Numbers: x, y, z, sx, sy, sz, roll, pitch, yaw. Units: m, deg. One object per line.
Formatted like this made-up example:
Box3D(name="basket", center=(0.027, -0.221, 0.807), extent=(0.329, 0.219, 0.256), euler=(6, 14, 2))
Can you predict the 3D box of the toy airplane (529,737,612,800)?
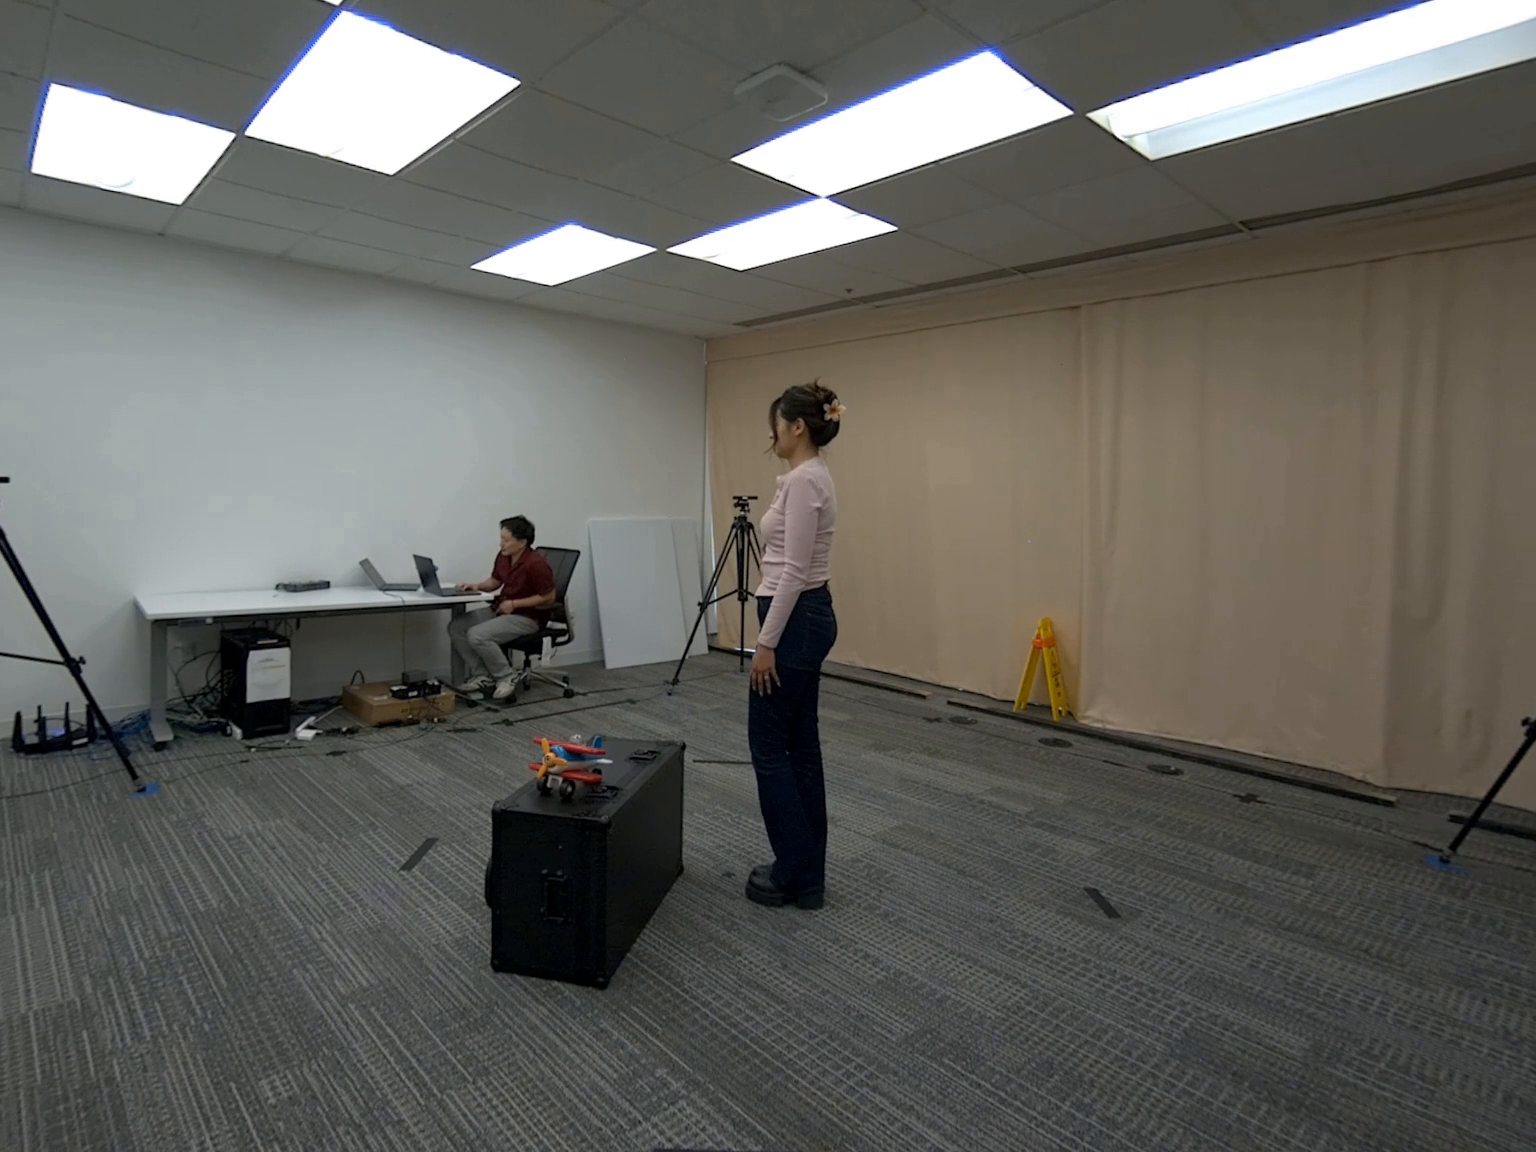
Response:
Box3D(name="toy airplane", center=(-0.627, 0.580, 2.612), extent=(0.251, 0.156, 0.260), euler=(1, 5, -1))
